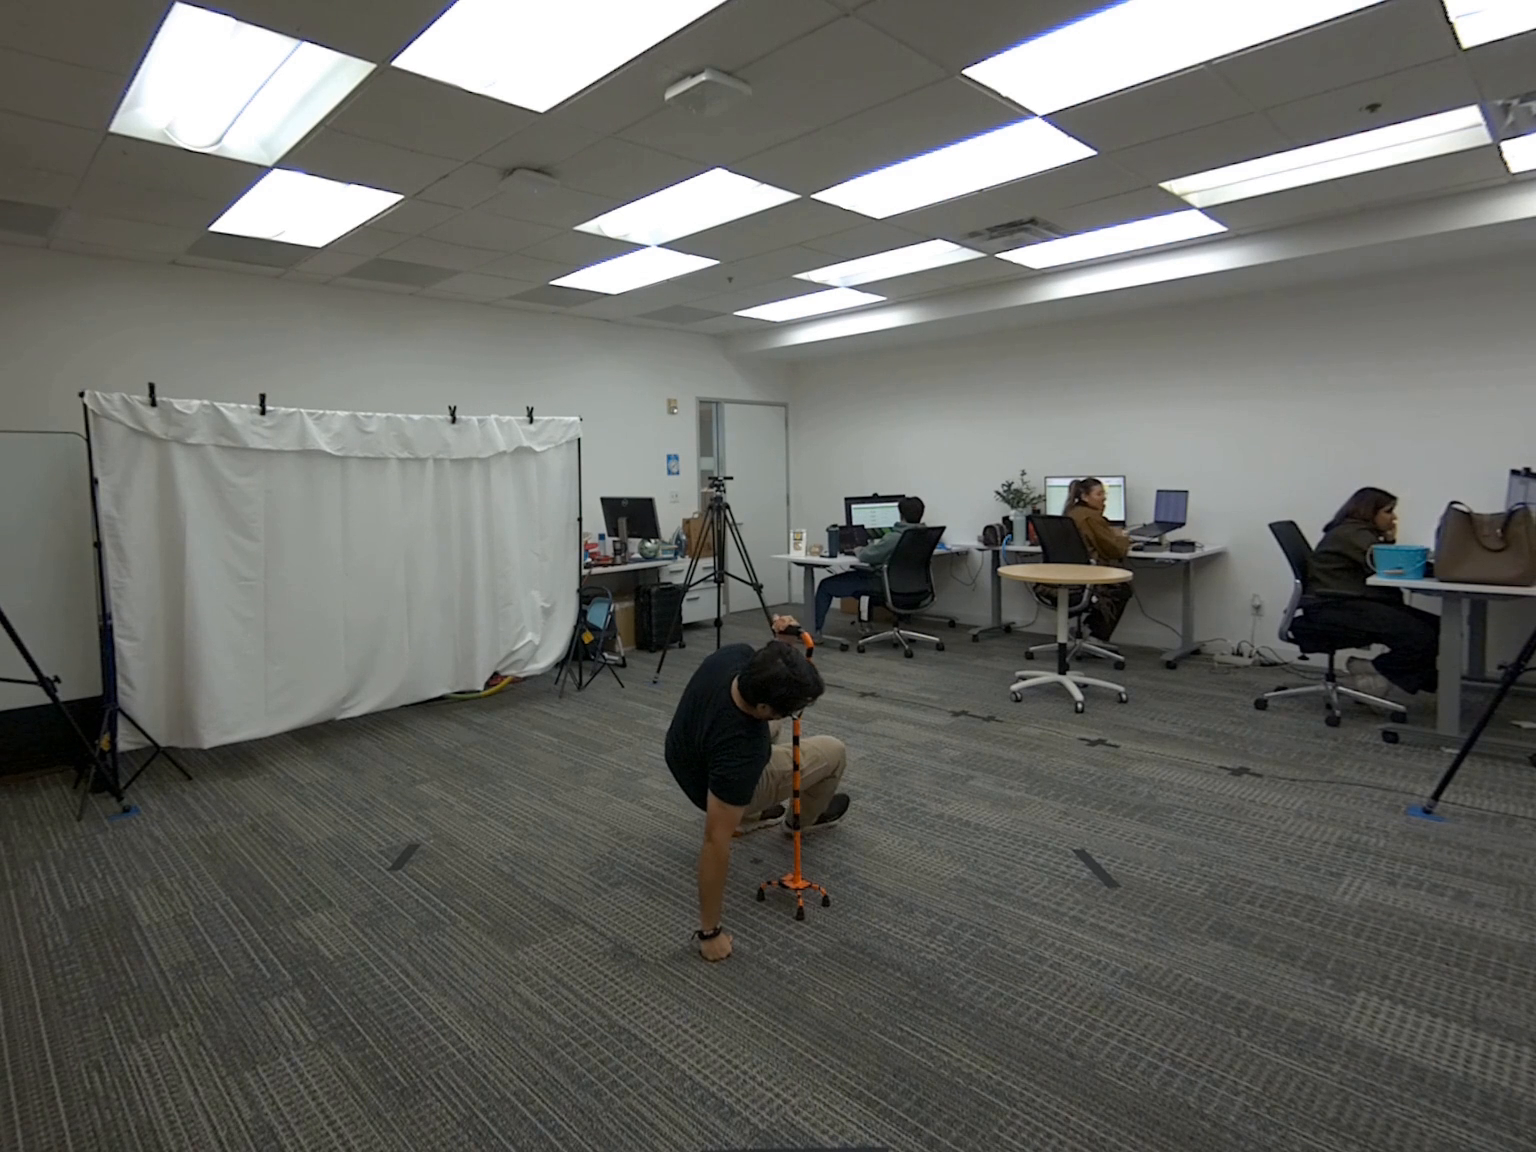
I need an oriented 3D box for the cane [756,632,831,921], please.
[{"bbox_3d":[0.087,0.618,2.779,0.147,0.906,0.212,-1,2,-43],"label":"cane"}]
